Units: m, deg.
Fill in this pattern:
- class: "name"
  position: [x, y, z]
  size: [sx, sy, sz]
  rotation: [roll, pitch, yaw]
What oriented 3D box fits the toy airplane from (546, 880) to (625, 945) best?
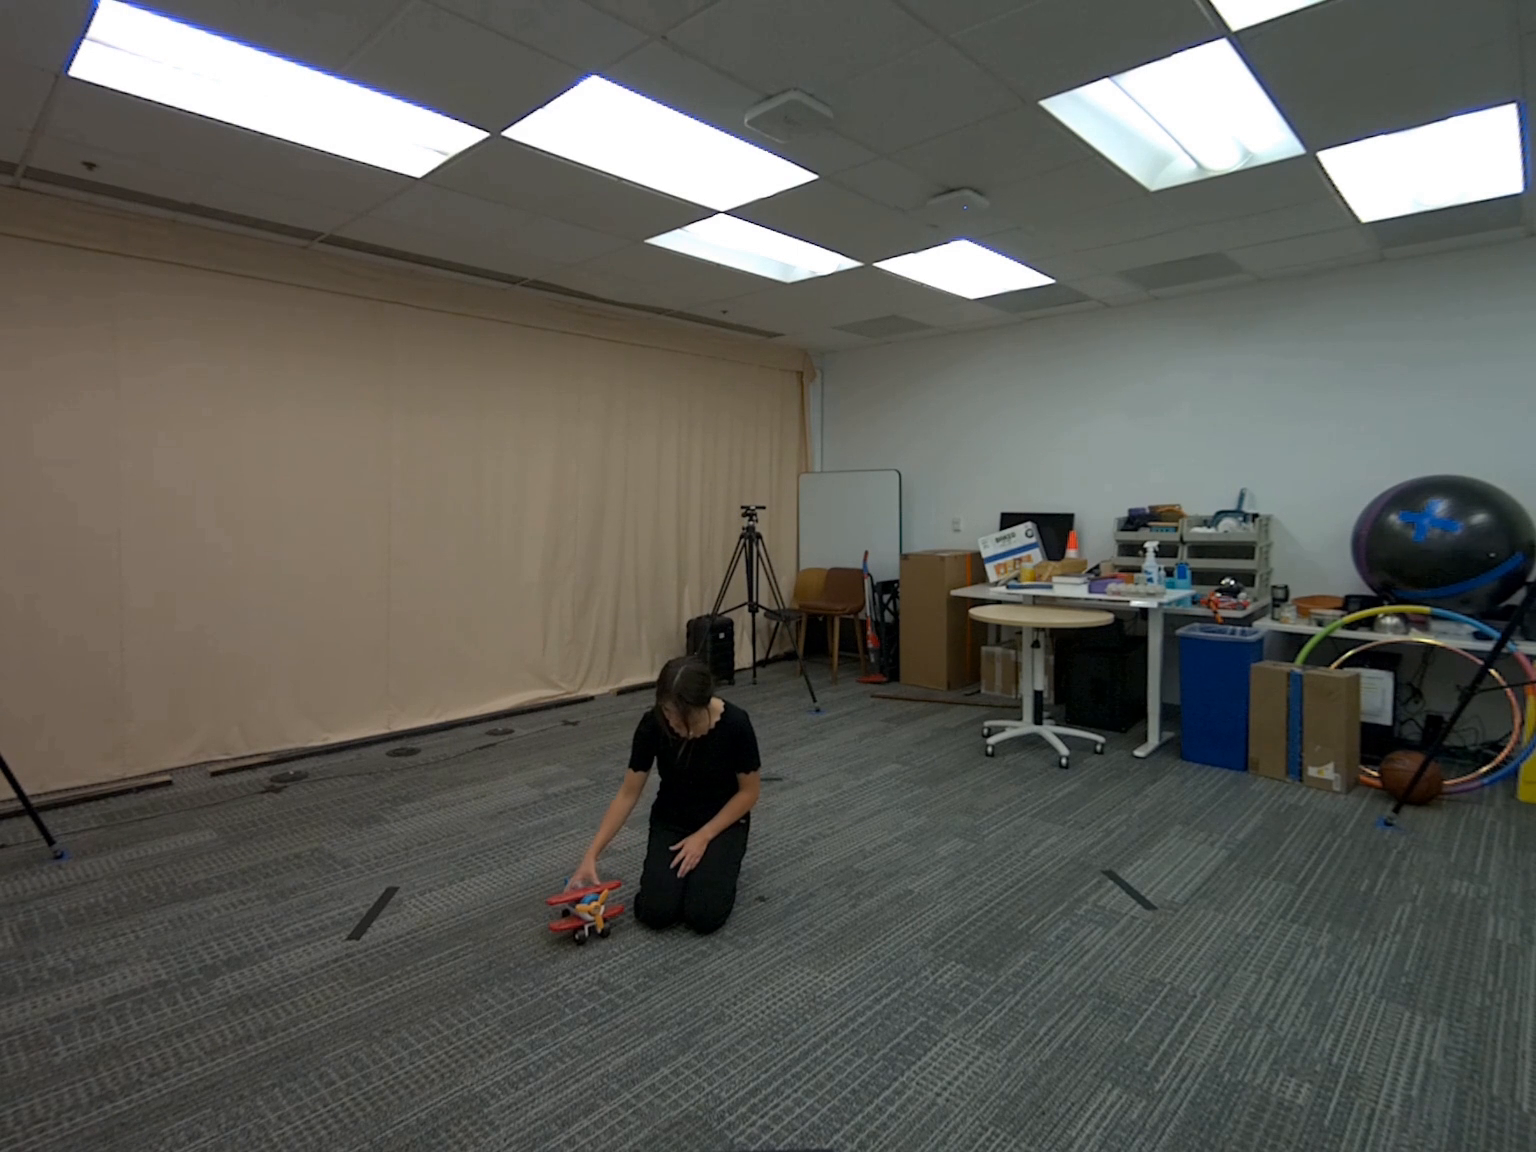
- class: "toy airplane"
  position: [-0.631, 1.094, 2.759]
  size: [0.266, 0.156, 0.245]
  rotation: [2, 6, 28]
